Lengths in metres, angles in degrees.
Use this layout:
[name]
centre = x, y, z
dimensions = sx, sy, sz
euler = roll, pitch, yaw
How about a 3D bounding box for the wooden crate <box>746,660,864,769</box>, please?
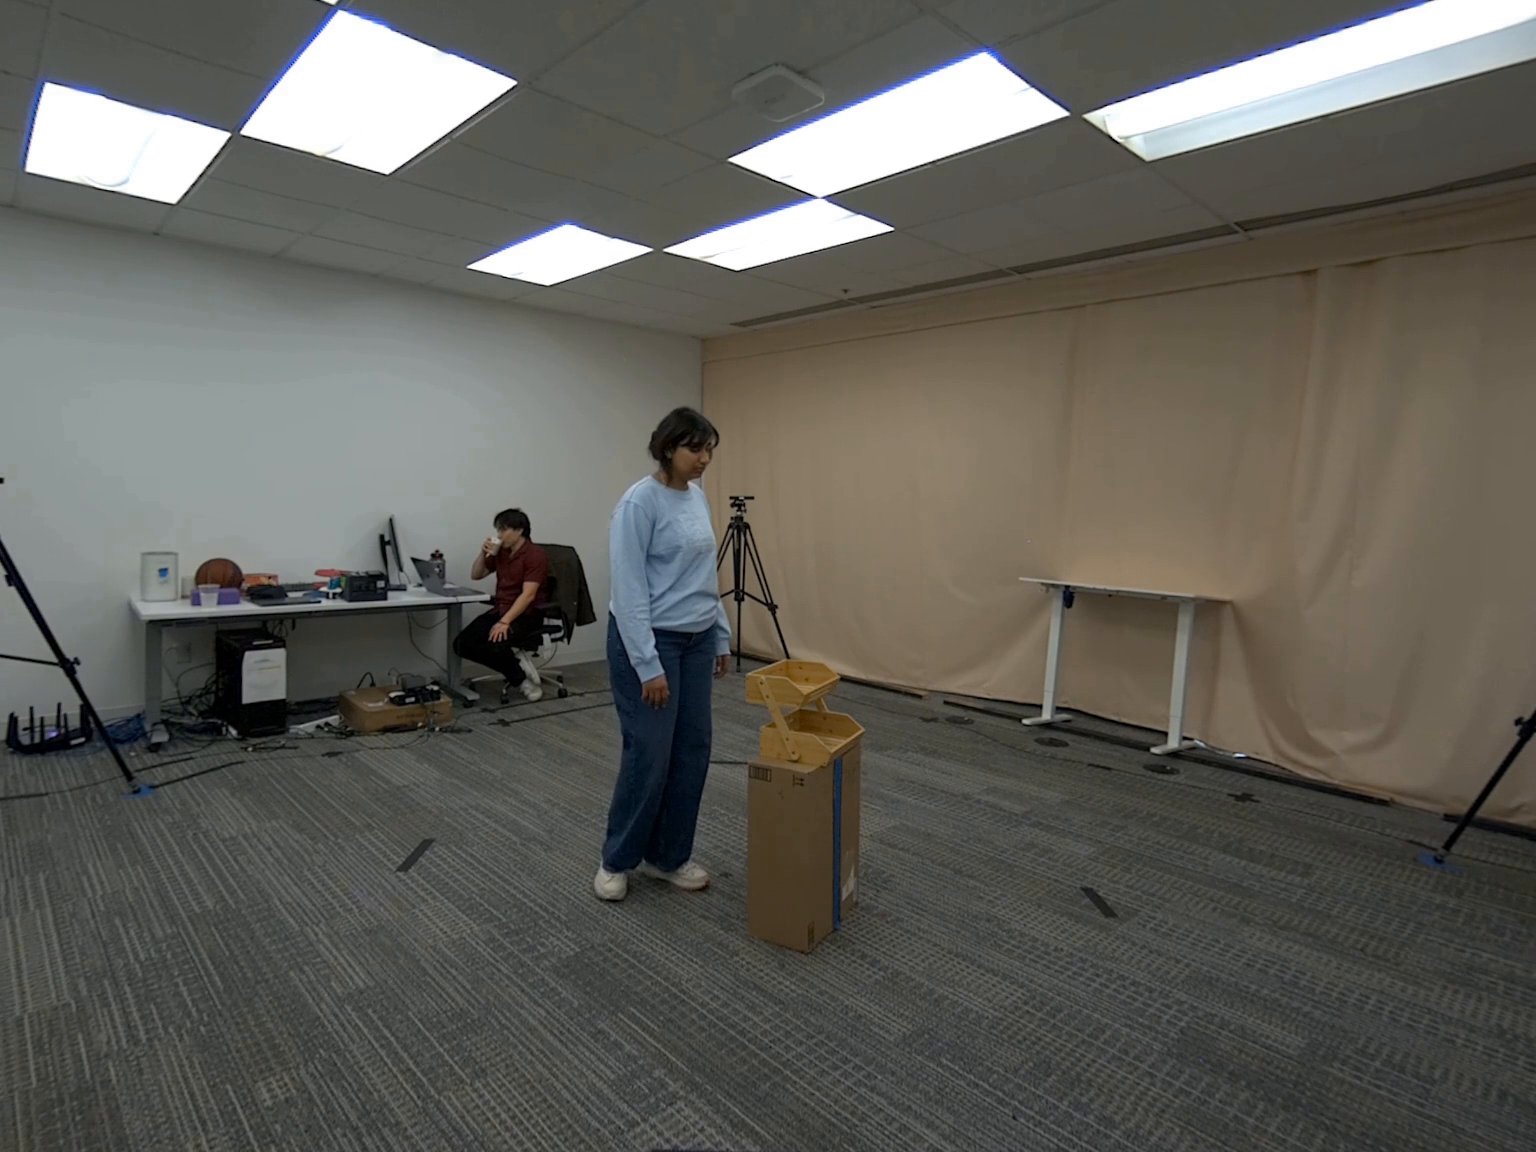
[wooden crate]
centre = 0.123, 0.439, 2.788
dimensions = 0.308, 0.273, 0.318
euler = 2, 4, 28
